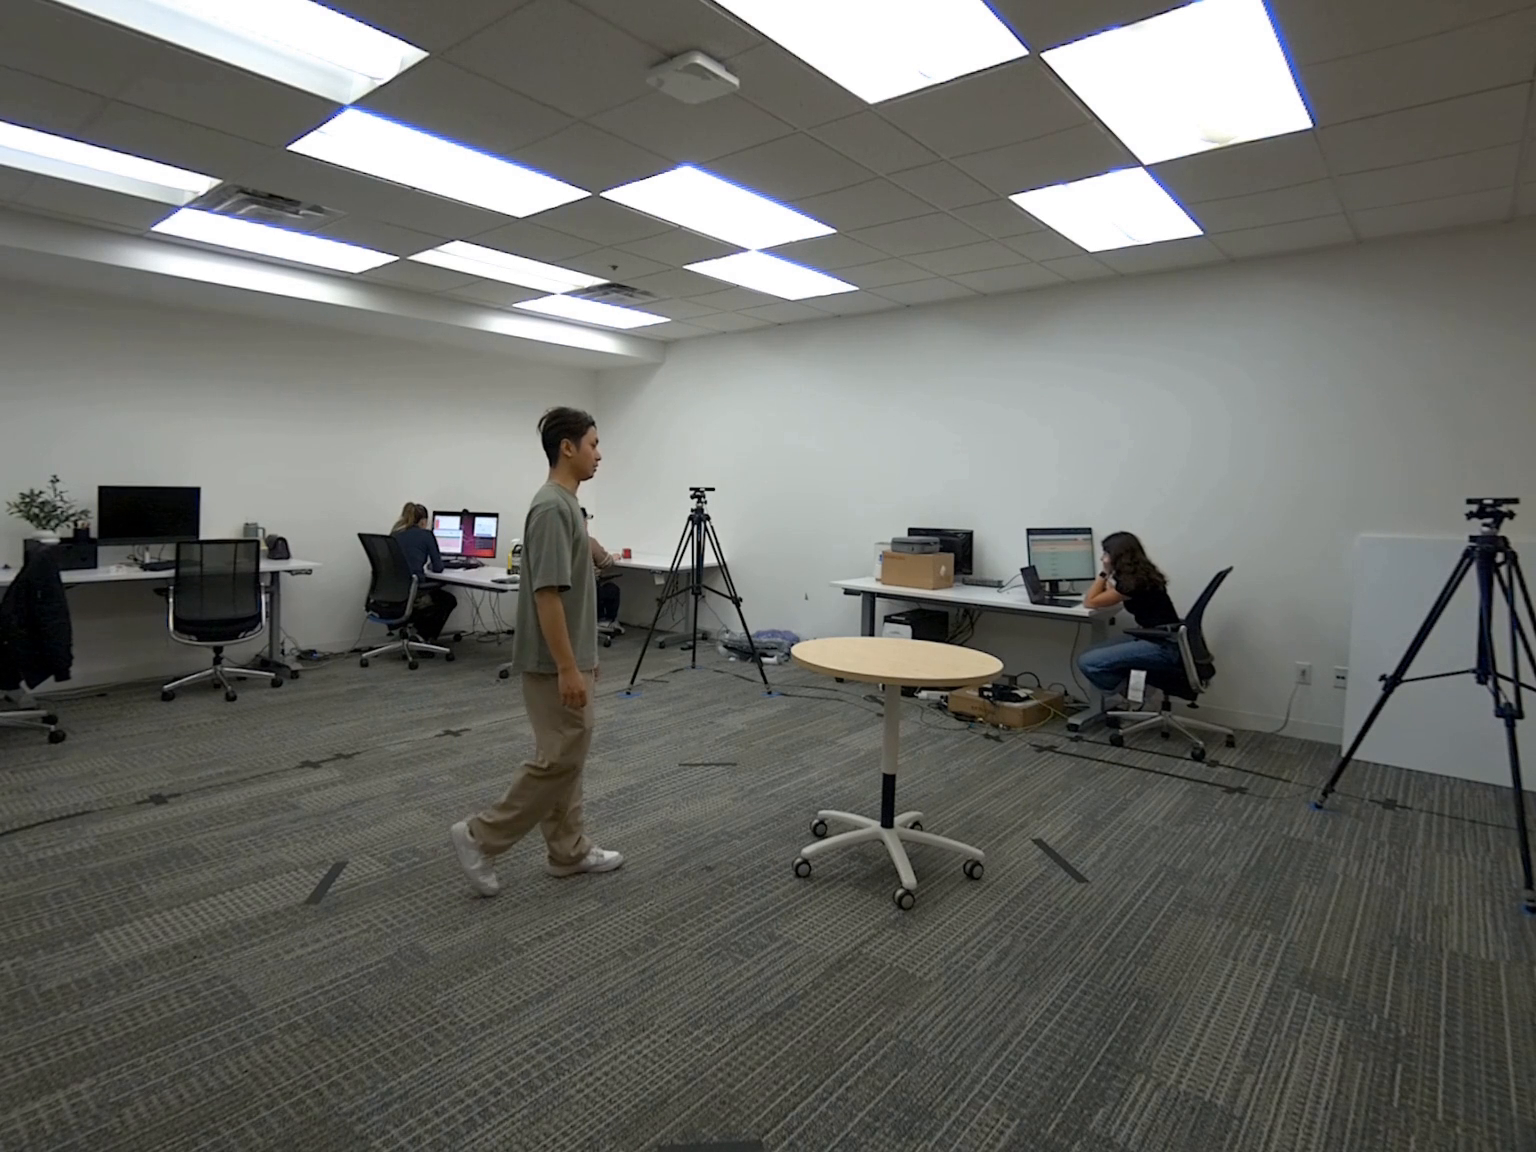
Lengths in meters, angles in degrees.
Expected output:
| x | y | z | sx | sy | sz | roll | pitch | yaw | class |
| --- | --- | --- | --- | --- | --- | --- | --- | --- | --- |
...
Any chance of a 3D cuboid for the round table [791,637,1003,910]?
| x | y | z | sx | sy | sz | roll | pitch | yaw | class |
| --- | --- | --- | --- | --- | --- | --- | --- | --- | --- |
| 0.444 | 0.686 | 3.151 | 0.784 | 0.784 | 0.789 | 2 | 4 | -2 | round table |
